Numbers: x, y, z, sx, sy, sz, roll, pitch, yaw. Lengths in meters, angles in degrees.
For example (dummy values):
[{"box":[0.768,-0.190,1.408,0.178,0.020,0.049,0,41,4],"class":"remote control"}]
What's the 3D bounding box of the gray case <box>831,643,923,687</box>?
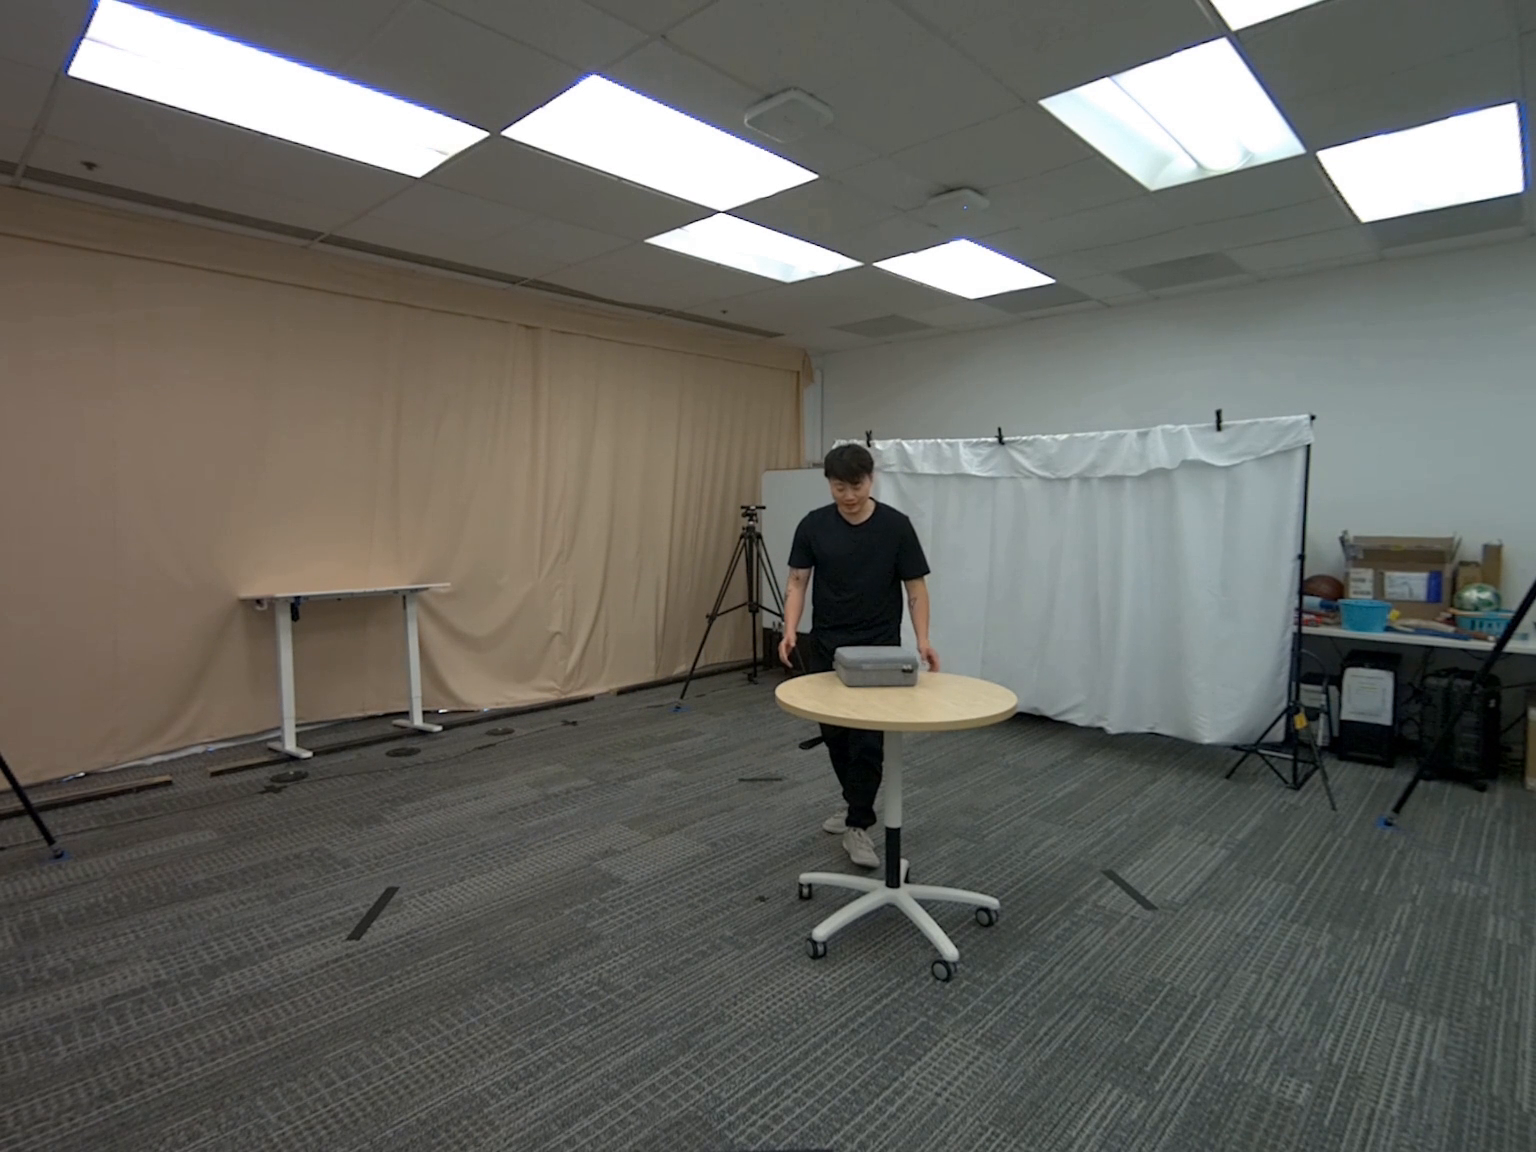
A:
[{"box":[0.368,0.300,2.924,0.256,0.104,0.262,1,4,-3],"class":"gray case"}]
